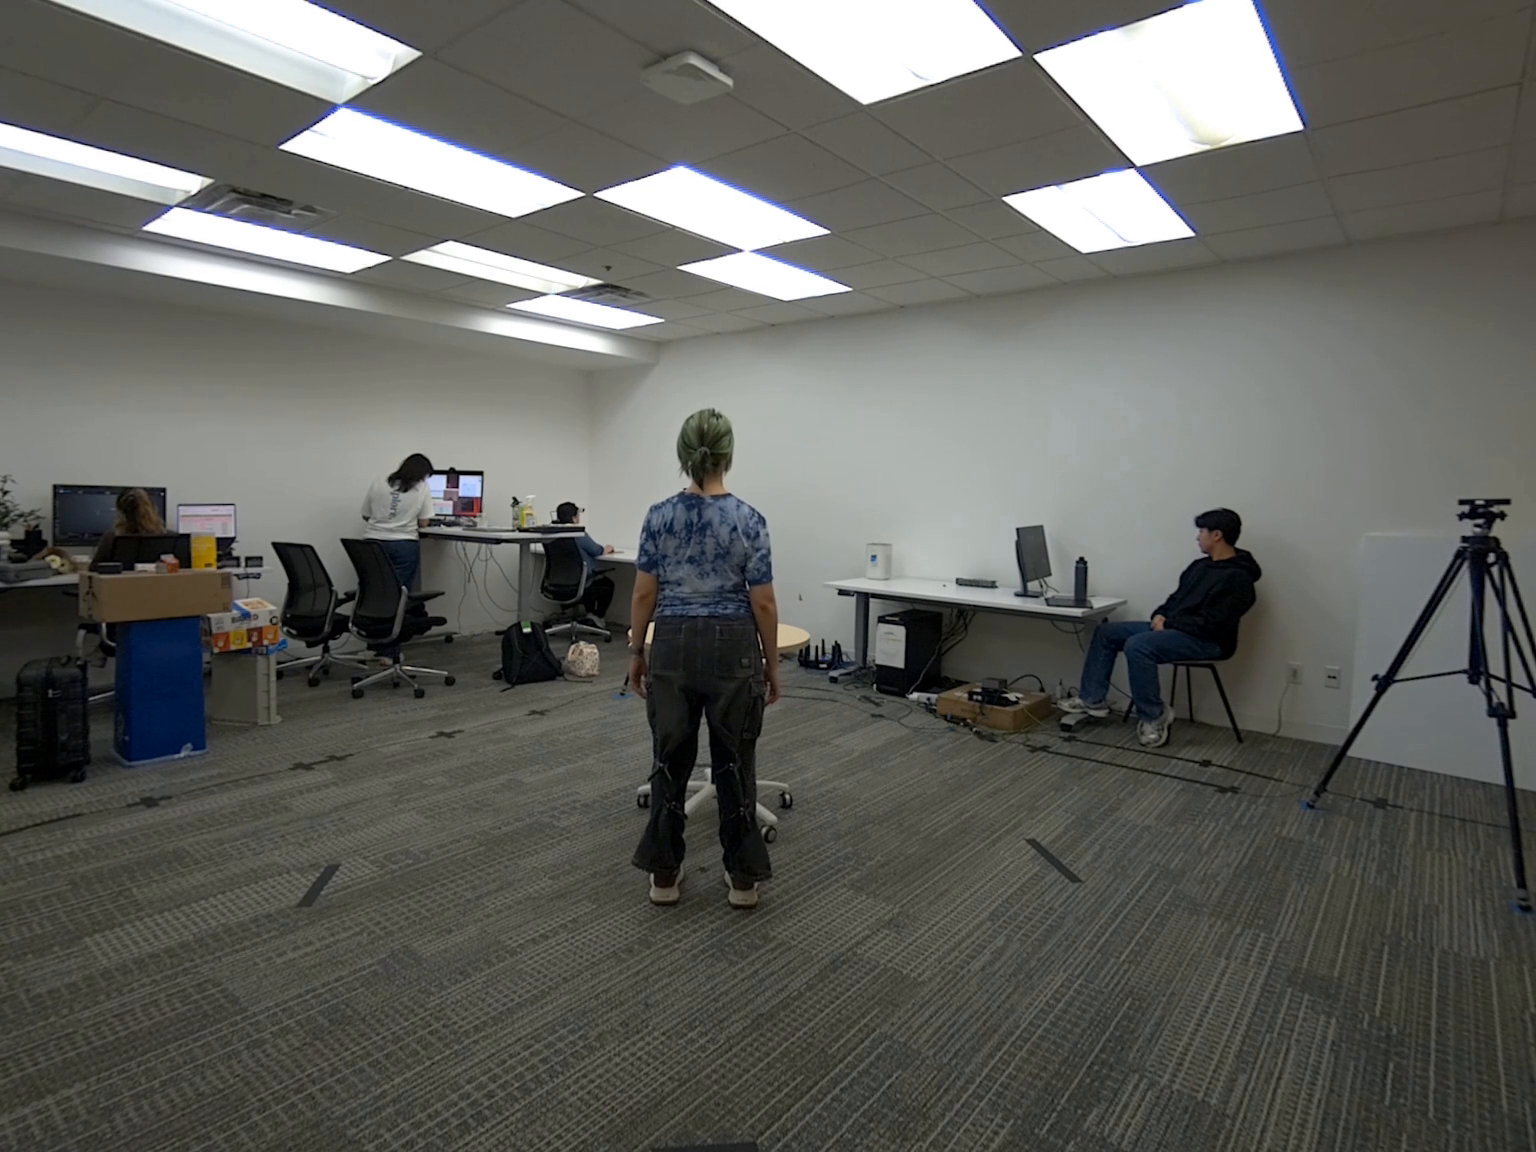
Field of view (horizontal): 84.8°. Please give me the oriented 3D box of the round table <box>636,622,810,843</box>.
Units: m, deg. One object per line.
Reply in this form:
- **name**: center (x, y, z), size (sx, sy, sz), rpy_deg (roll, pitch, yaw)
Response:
- **round table**: center (-0.223, 0.629, 3.609), size (0.763, 0.791, 0.768), rpy_deg (1, 4, -2)
